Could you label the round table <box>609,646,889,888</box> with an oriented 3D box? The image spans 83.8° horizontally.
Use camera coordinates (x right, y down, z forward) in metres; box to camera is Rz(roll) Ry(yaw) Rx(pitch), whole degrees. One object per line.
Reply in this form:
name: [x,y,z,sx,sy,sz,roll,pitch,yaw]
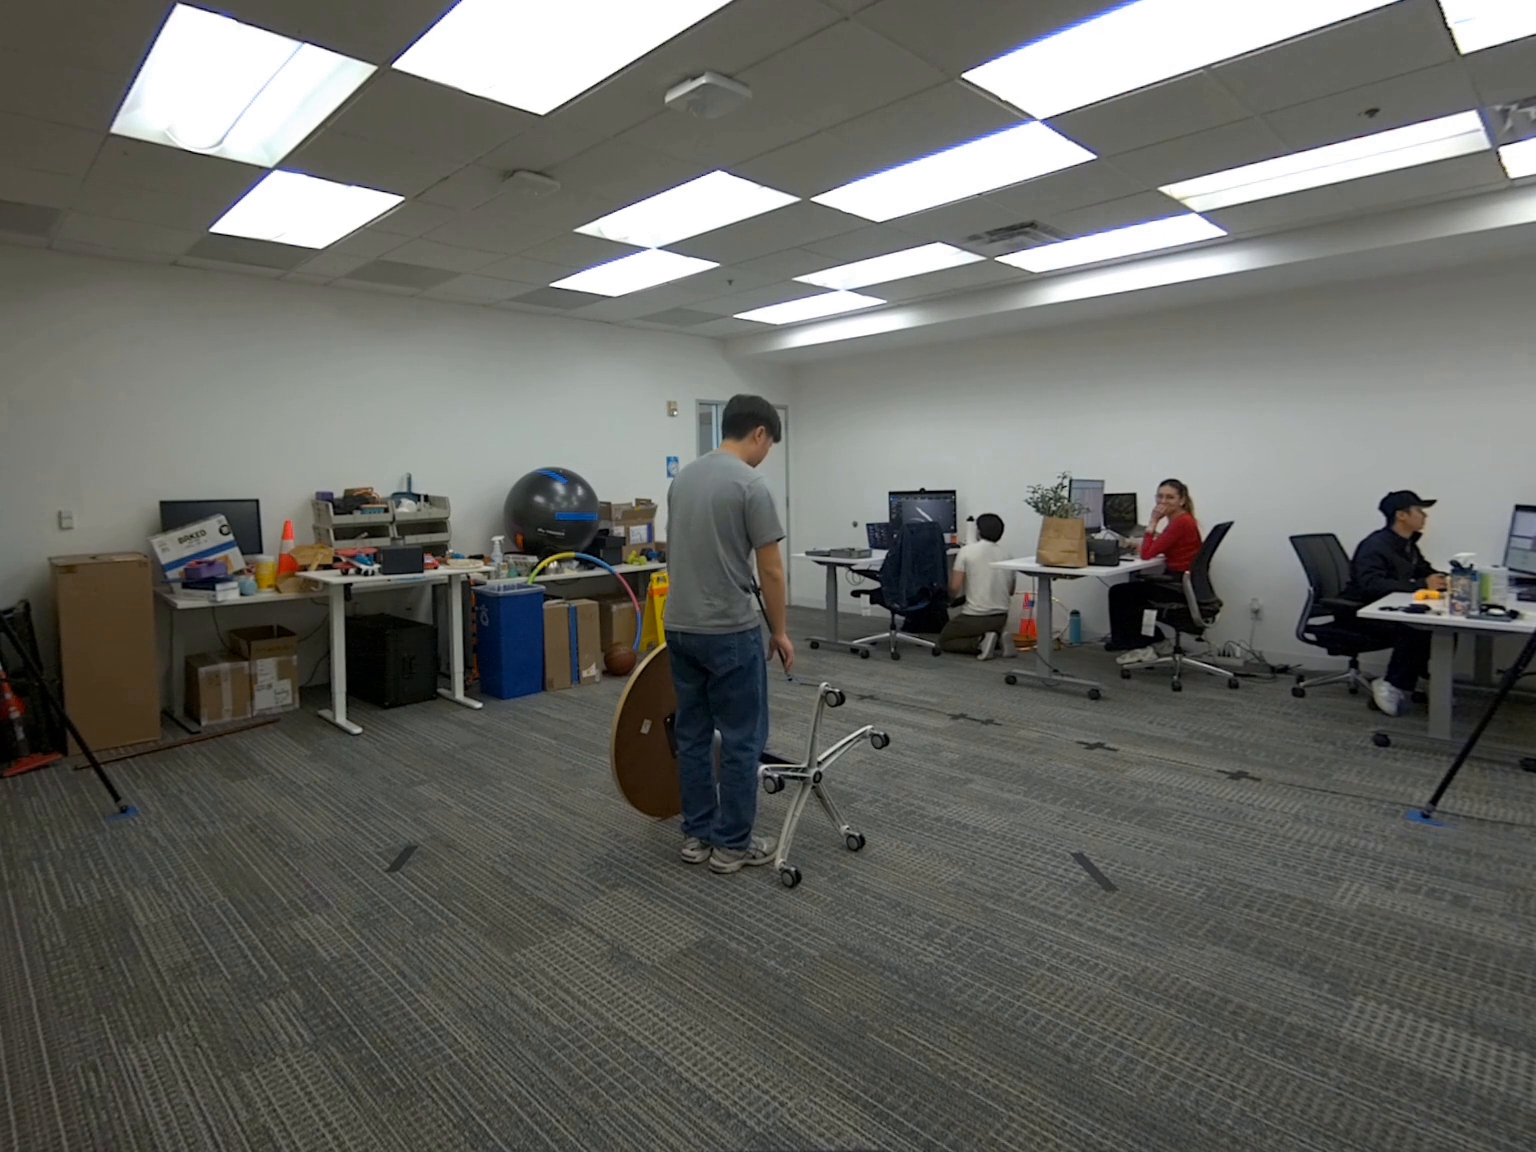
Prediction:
round table: [-0.051,0.684,3.299,0.821,0.759,0.744,11,11,41]
